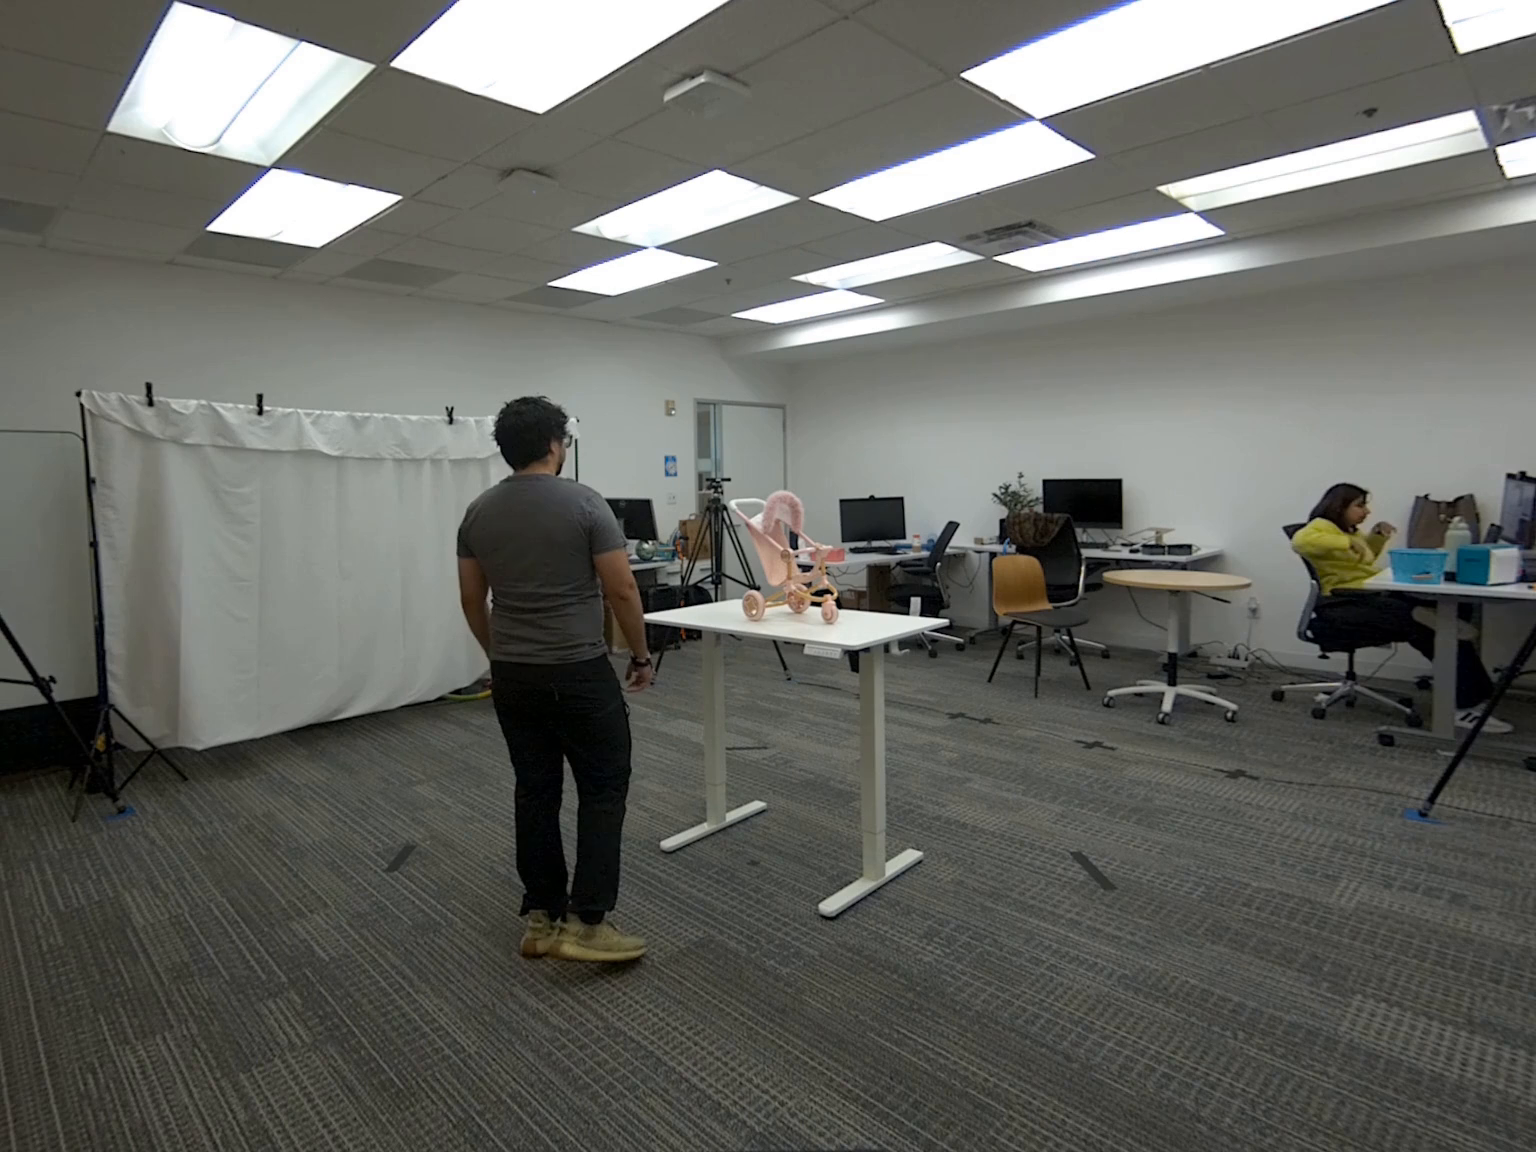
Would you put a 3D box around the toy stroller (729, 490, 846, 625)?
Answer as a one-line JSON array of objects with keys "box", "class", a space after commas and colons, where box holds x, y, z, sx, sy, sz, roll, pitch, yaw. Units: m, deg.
[{"box": [0.077, -0.068, 3.102, 0.274, 0.540, 0.347, -5, -11, -42], "class": "toy stroller"}]
